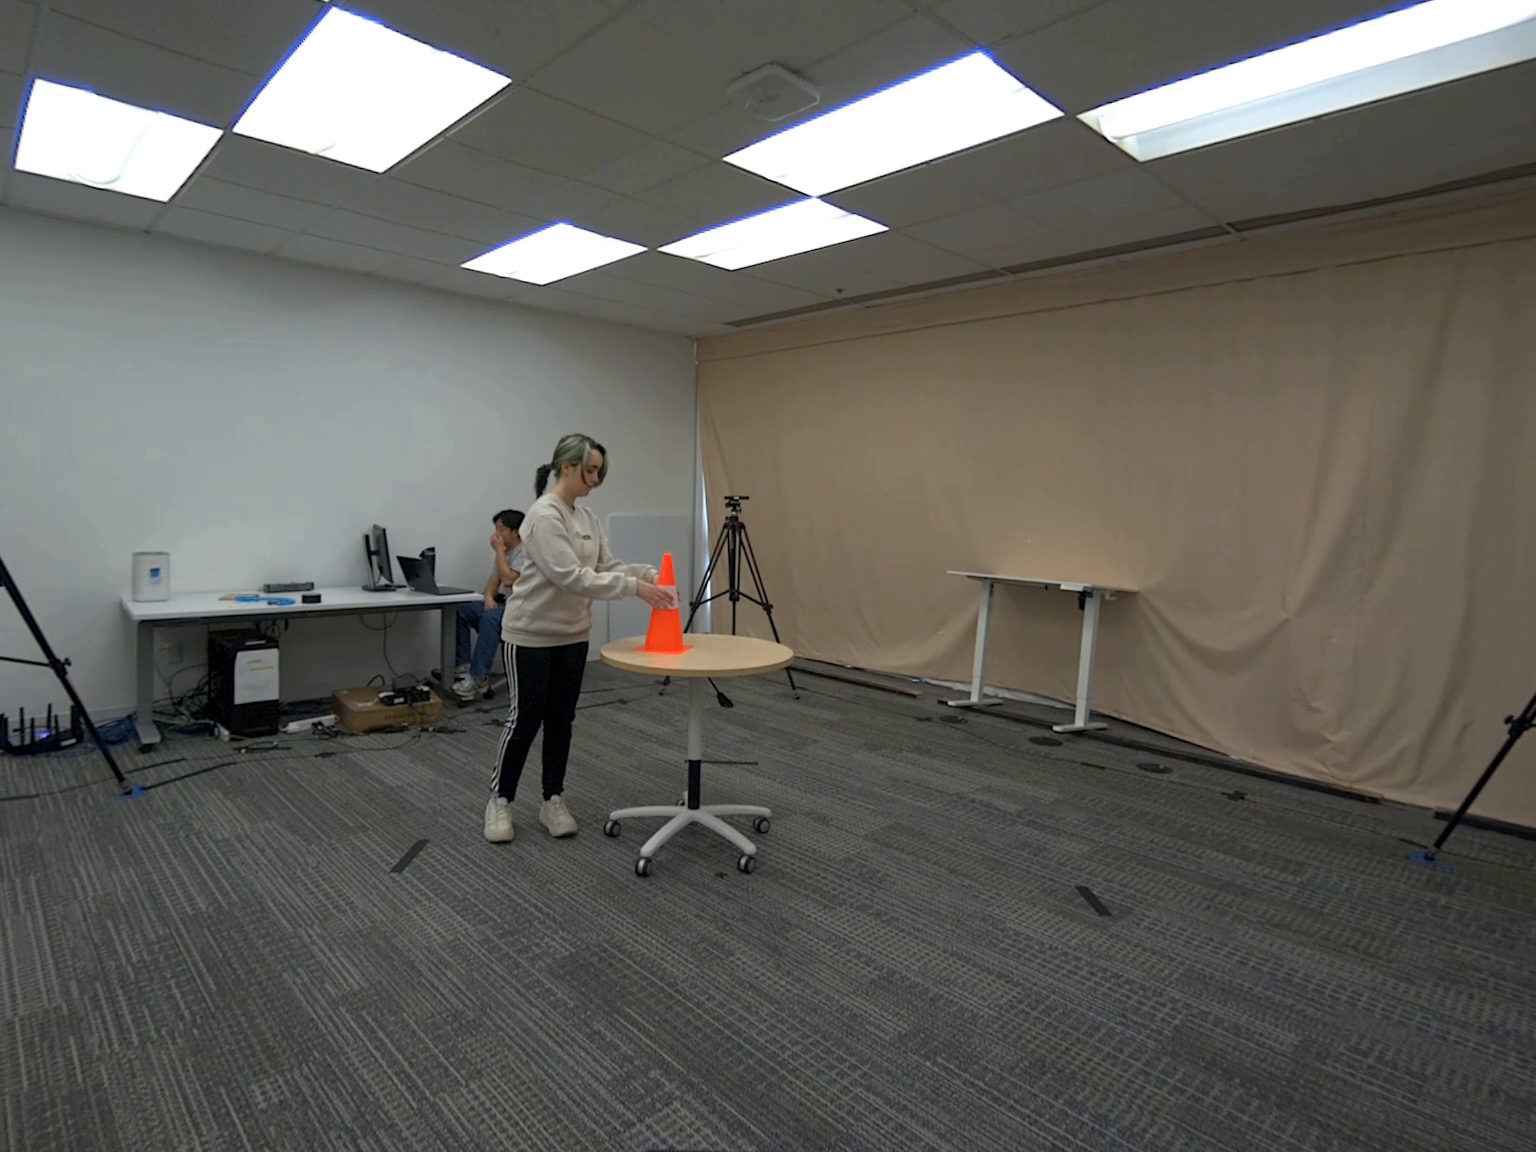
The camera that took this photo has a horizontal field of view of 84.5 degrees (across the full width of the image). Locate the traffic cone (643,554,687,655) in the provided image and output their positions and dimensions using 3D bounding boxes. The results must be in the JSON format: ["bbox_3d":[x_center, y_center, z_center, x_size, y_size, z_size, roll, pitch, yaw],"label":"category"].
[{"bbox_3d":[-0.425,0.101,3.357,0.206,0.383,0.202,3,3,16],"label":"traffic cone"}]
